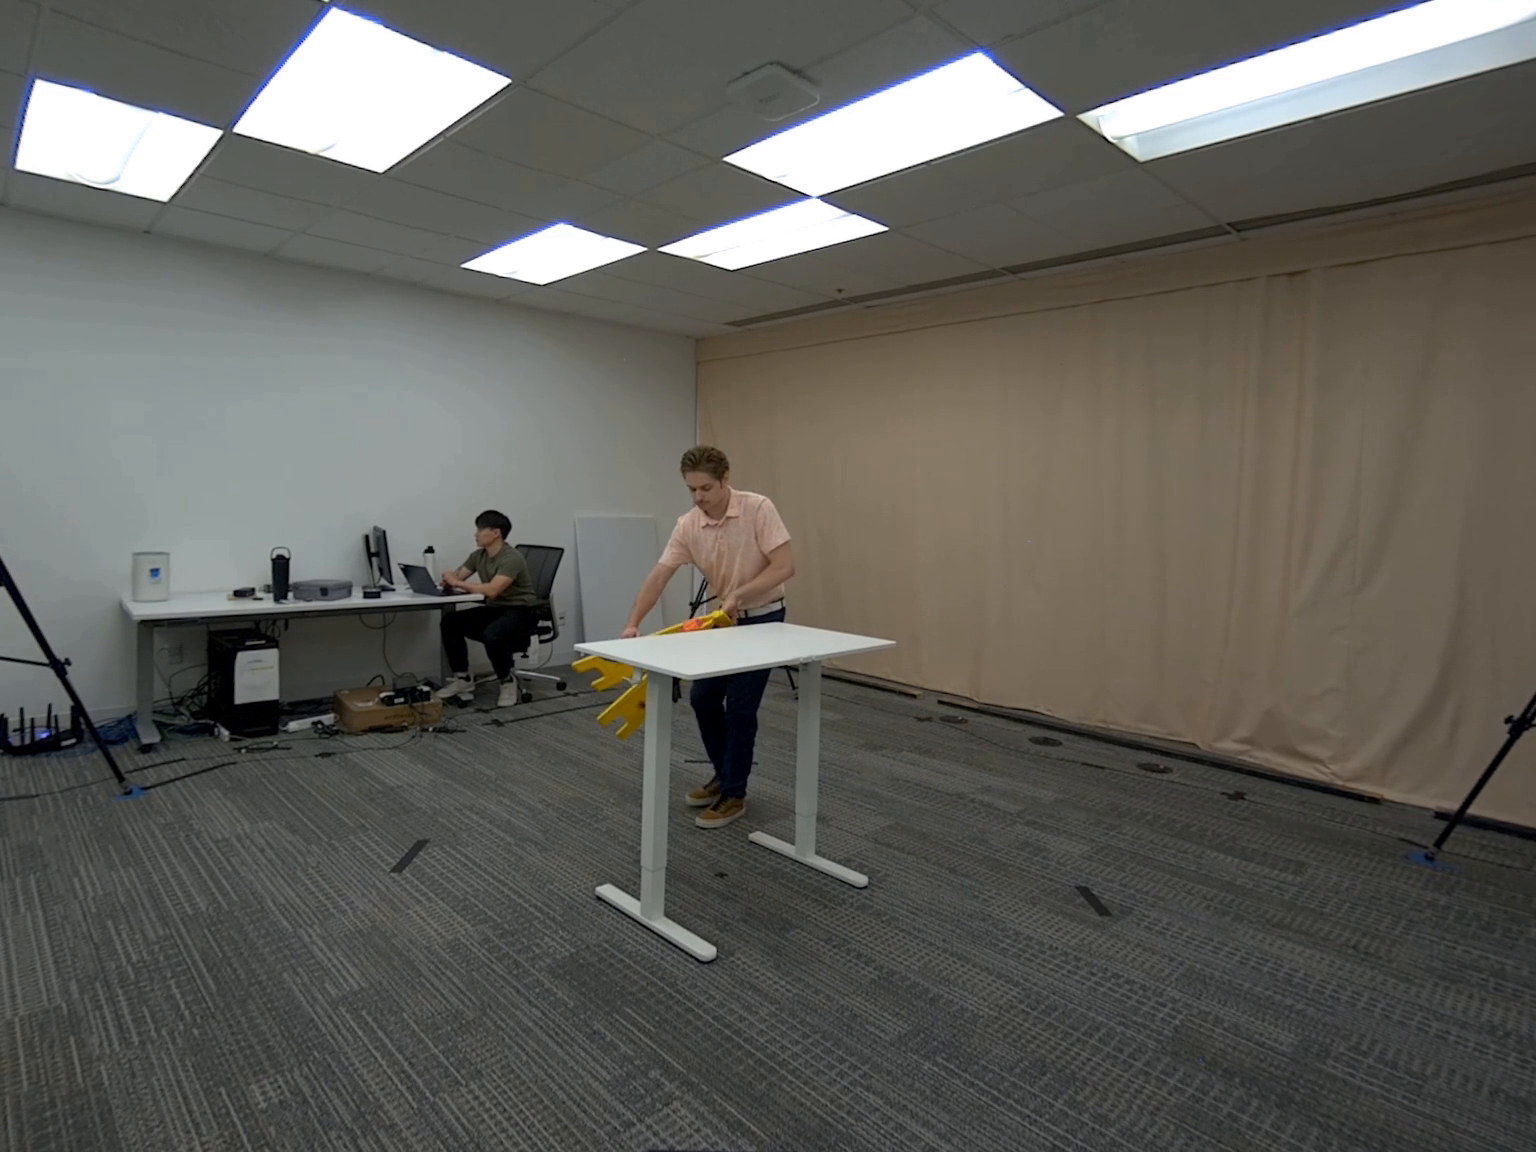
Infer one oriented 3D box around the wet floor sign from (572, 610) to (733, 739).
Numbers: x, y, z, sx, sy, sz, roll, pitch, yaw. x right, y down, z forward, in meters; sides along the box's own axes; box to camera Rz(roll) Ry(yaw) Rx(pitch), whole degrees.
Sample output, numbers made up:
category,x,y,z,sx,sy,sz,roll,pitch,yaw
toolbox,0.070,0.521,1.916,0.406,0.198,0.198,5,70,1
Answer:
category,x,y,z,sx,sy,sz,roll,pitch,yaw
wet floor sign,-0.435,0.357,3.477,0.645,0.298,0.274,-33,-32,-3
